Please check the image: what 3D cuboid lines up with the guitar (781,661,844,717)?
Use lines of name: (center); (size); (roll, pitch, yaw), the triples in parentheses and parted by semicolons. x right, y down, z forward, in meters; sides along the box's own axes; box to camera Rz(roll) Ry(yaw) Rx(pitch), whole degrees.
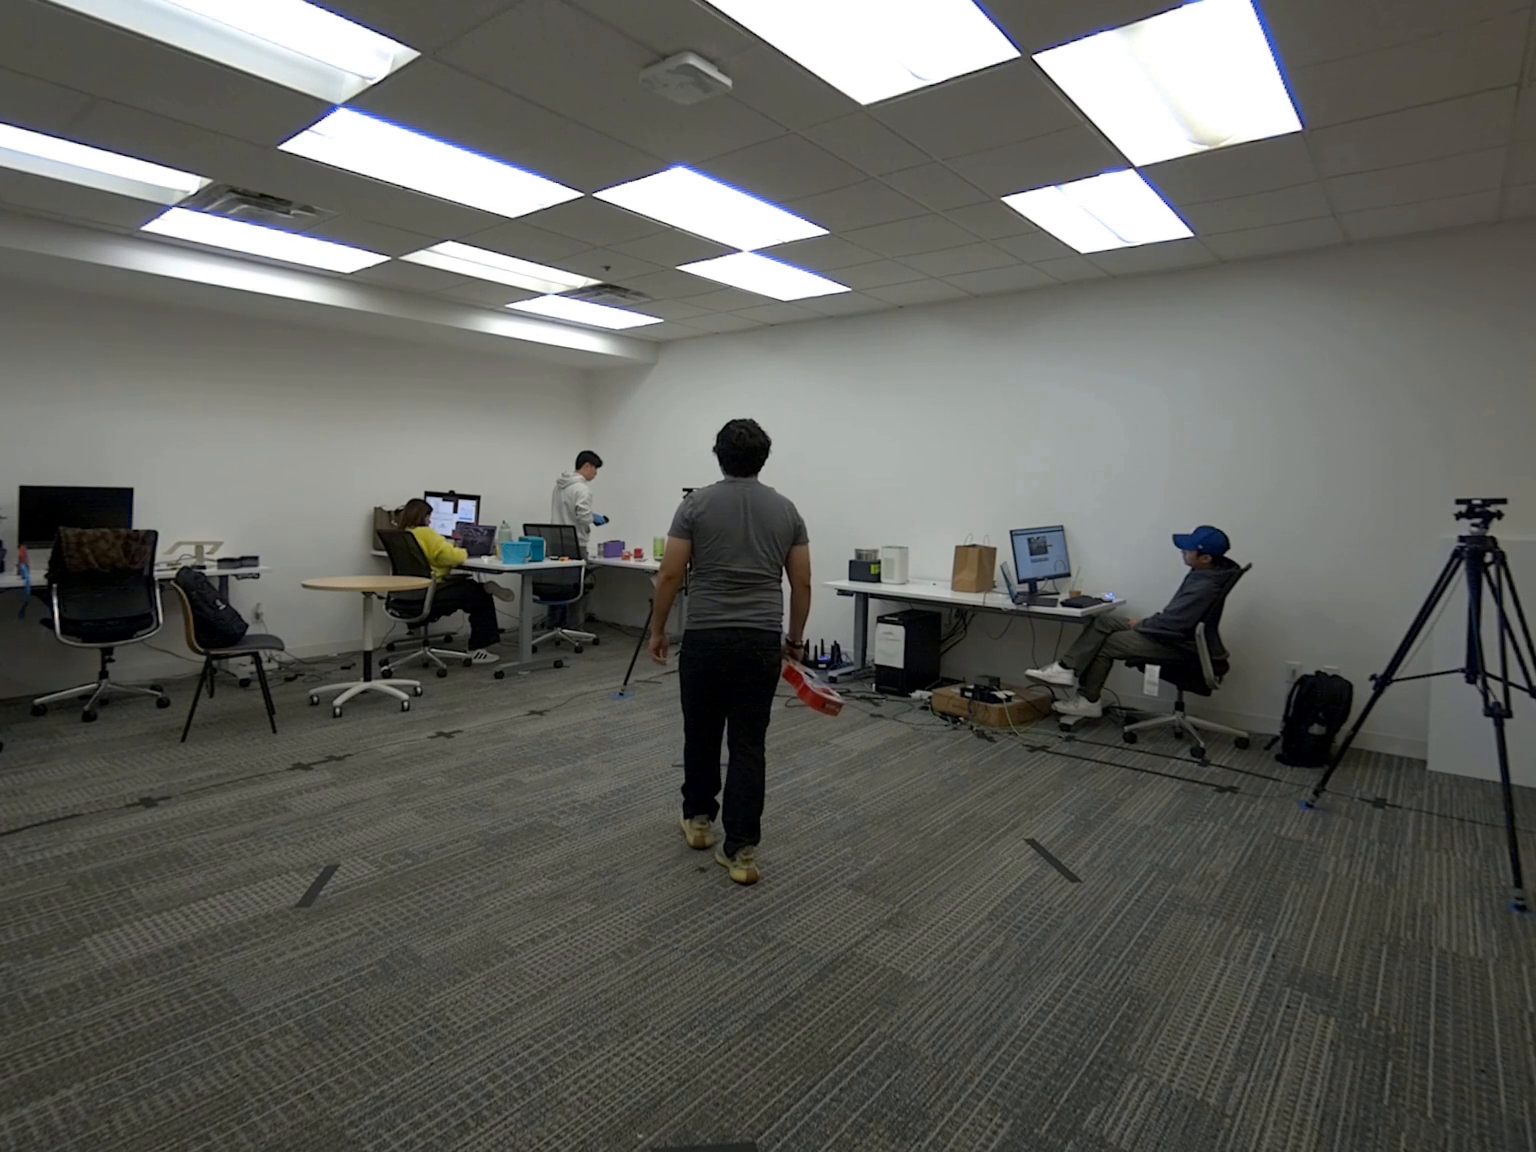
guitar: (0.118, 0.373, 3.321); (0.186, 0.070, 0.517); (25, 11, -33)
